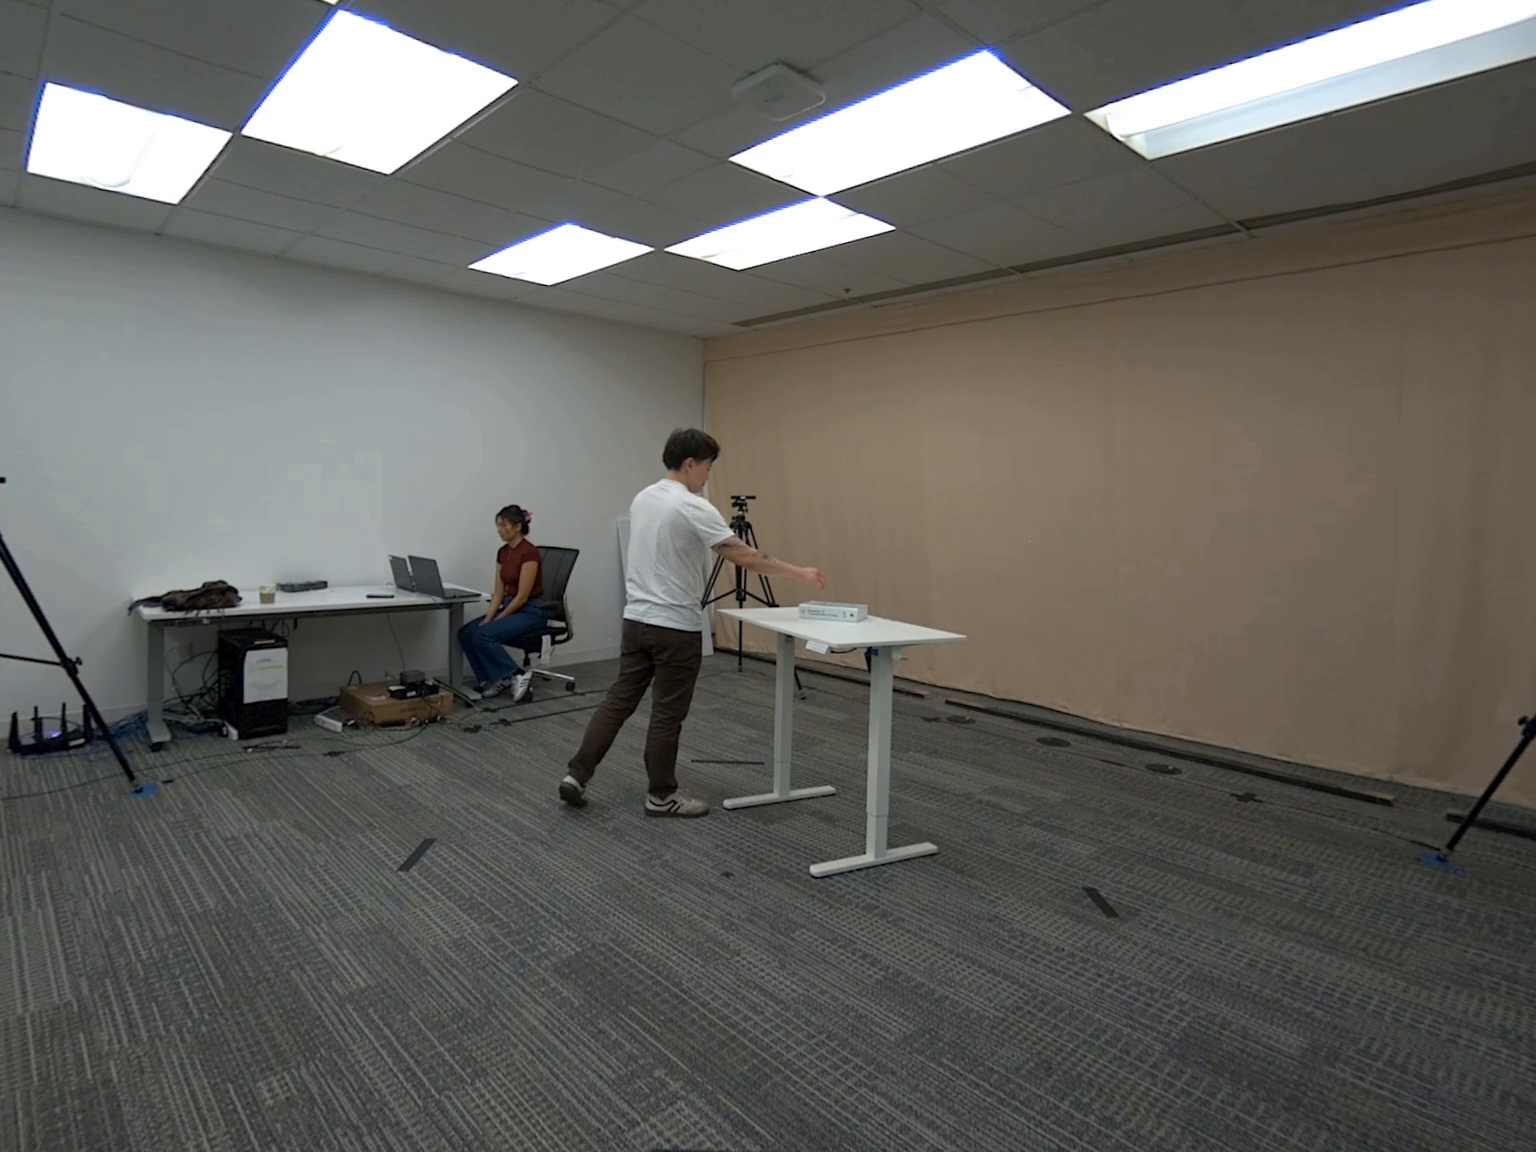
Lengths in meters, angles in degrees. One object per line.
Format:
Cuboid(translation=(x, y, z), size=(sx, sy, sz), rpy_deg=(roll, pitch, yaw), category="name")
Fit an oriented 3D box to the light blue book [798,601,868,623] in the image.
Cuboid(translation=(0.265, 0.153, 3.699), size=(0.265, 0.059, 0.188), rpy_deg=(3, 5, 21), category="light blue book")
